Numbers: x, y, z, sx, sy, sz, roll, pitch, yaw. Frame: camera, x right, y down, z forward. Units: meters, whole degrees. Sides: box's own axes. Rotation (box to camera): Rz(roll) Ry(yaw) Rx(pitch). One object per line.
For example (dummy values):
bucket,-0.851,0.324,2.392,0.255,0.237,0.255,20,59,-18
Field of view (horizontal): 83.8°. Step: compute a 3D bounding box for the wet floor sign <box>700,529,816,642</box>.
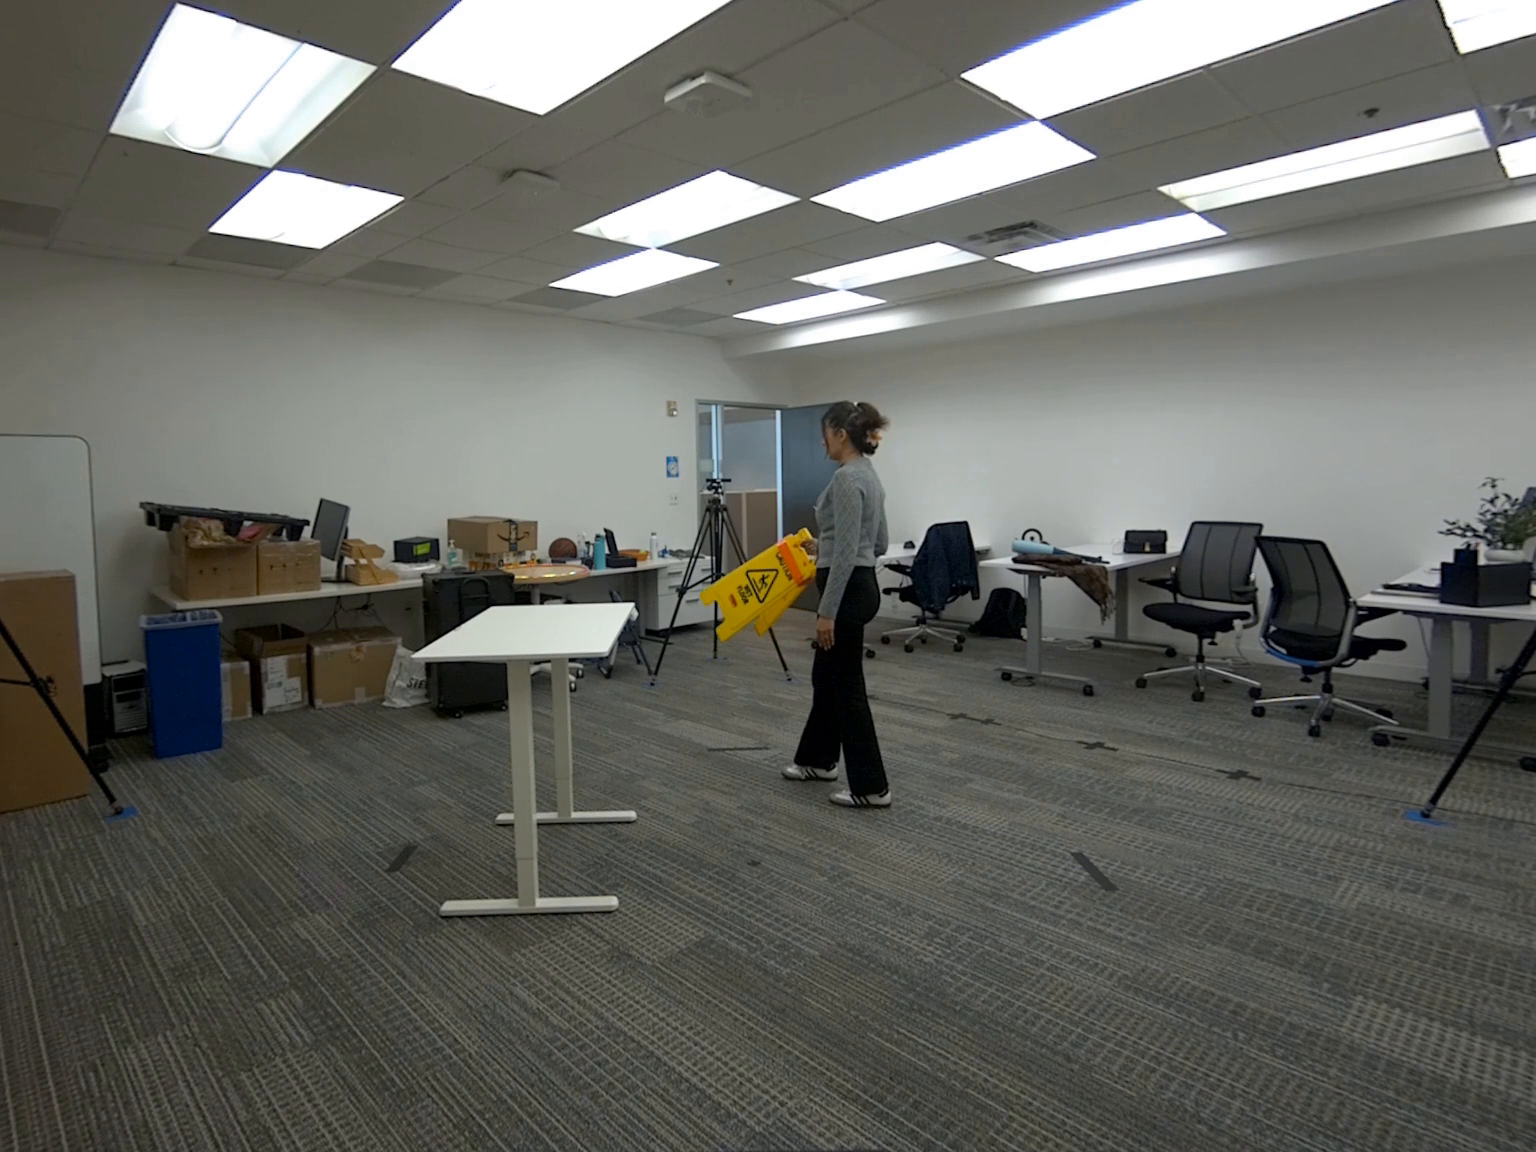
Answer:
wet floor sign,0.012,0.030,4.108,0.281,0.289,0.648,-2,-31,-49
